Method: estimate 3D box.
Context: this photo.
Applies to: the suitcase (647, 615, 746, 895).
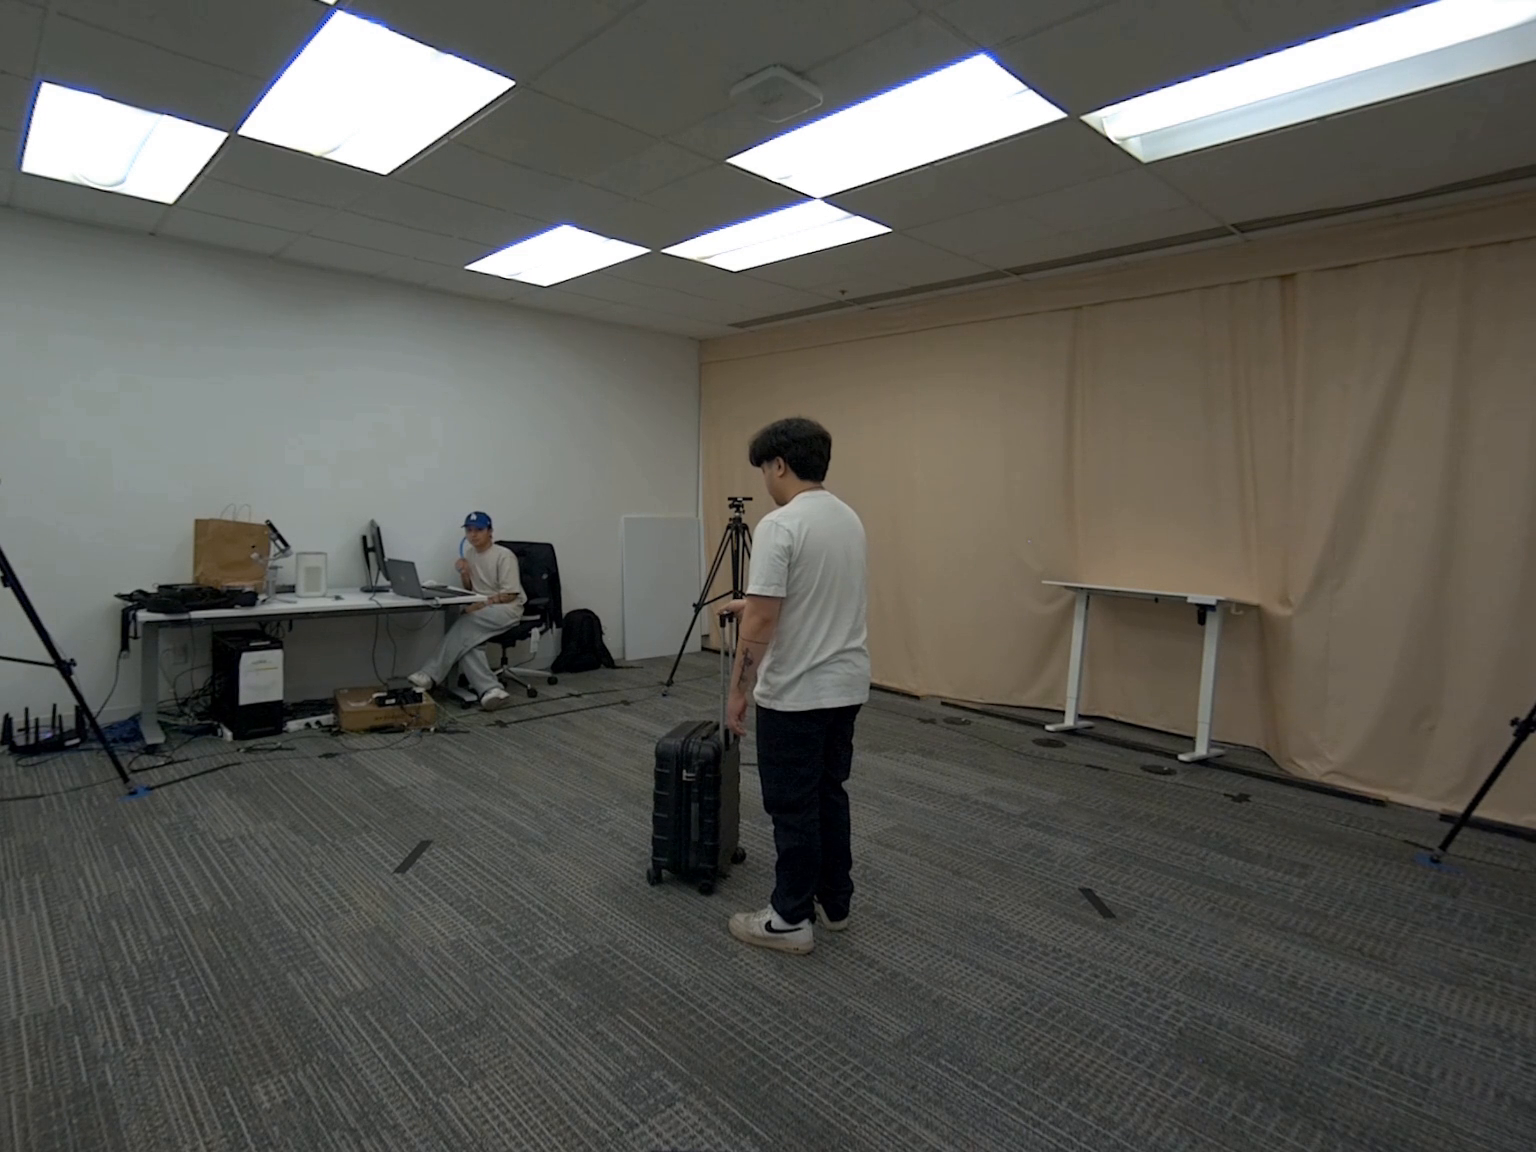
[{"bbox_3d":[-0.264,0.631,3.108,0.260,0.976,0.380,1,3,15],"label":"suitcase"}]
